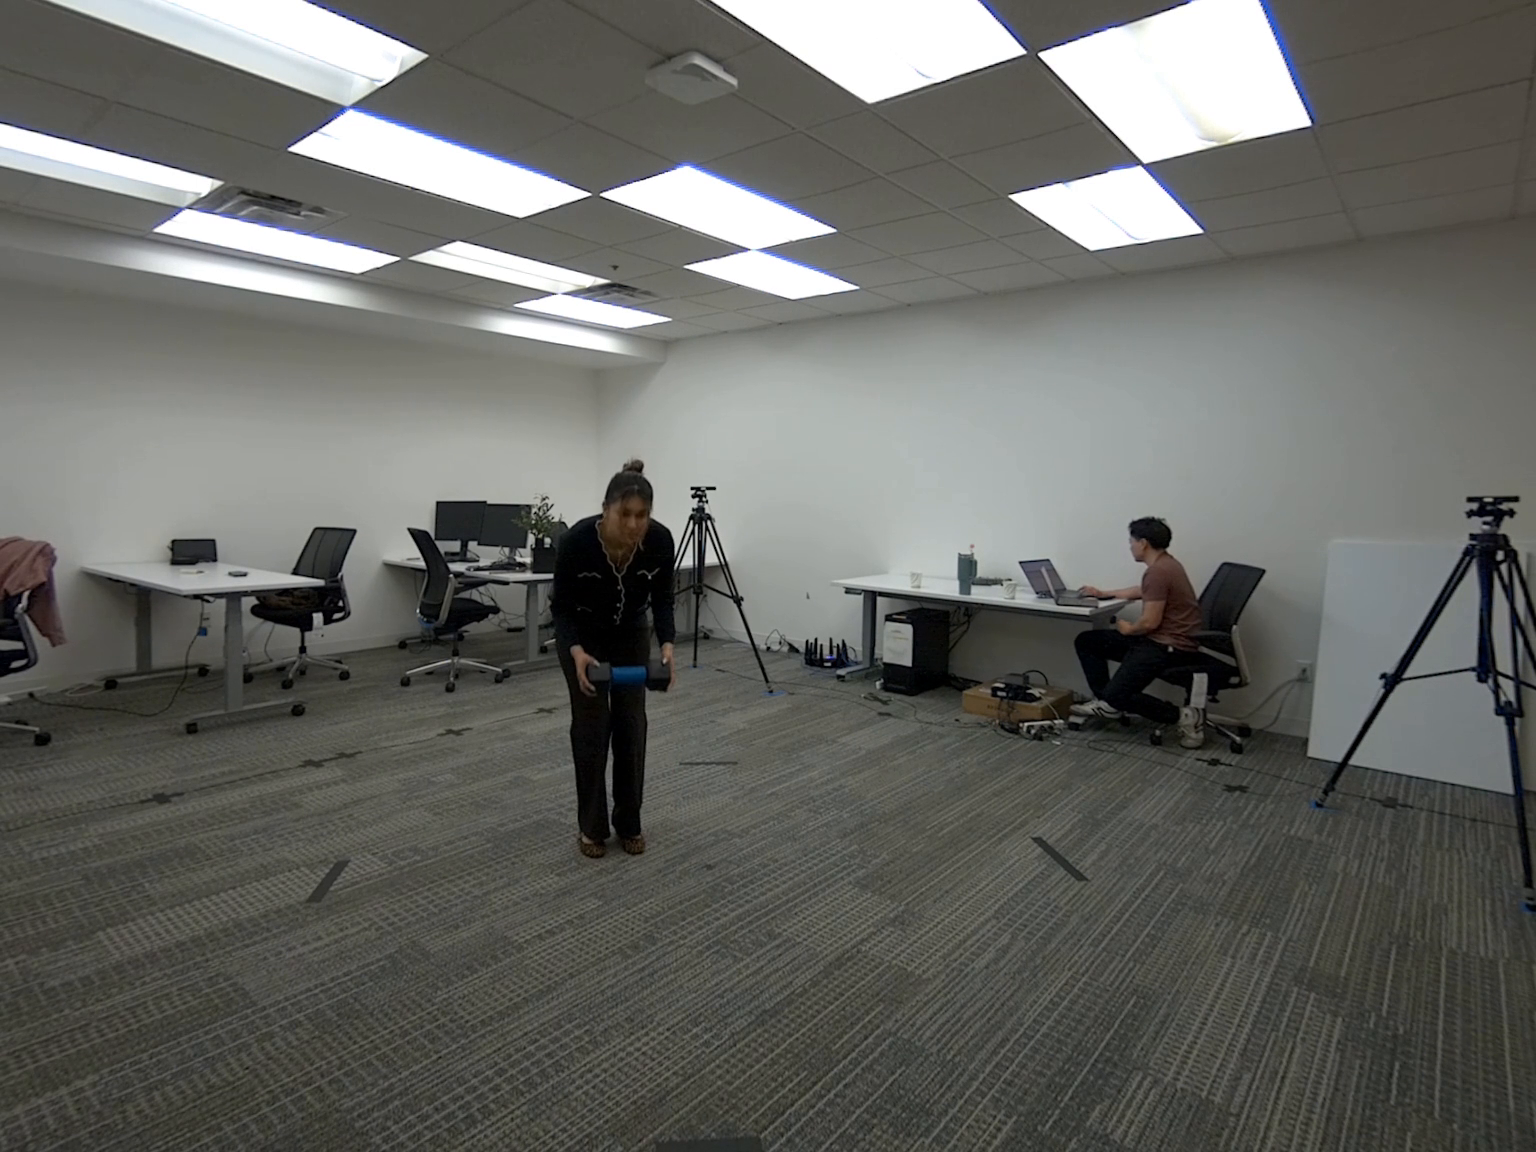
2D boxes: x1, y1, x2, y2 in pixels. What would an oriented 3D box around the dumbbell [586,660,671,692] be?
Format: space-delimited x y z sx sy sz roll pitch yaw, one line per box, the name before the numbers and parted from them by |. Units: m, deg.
dumbbell | -0.517 0.353 3.014 0.289 0.126 0.108 0 -22 -16
